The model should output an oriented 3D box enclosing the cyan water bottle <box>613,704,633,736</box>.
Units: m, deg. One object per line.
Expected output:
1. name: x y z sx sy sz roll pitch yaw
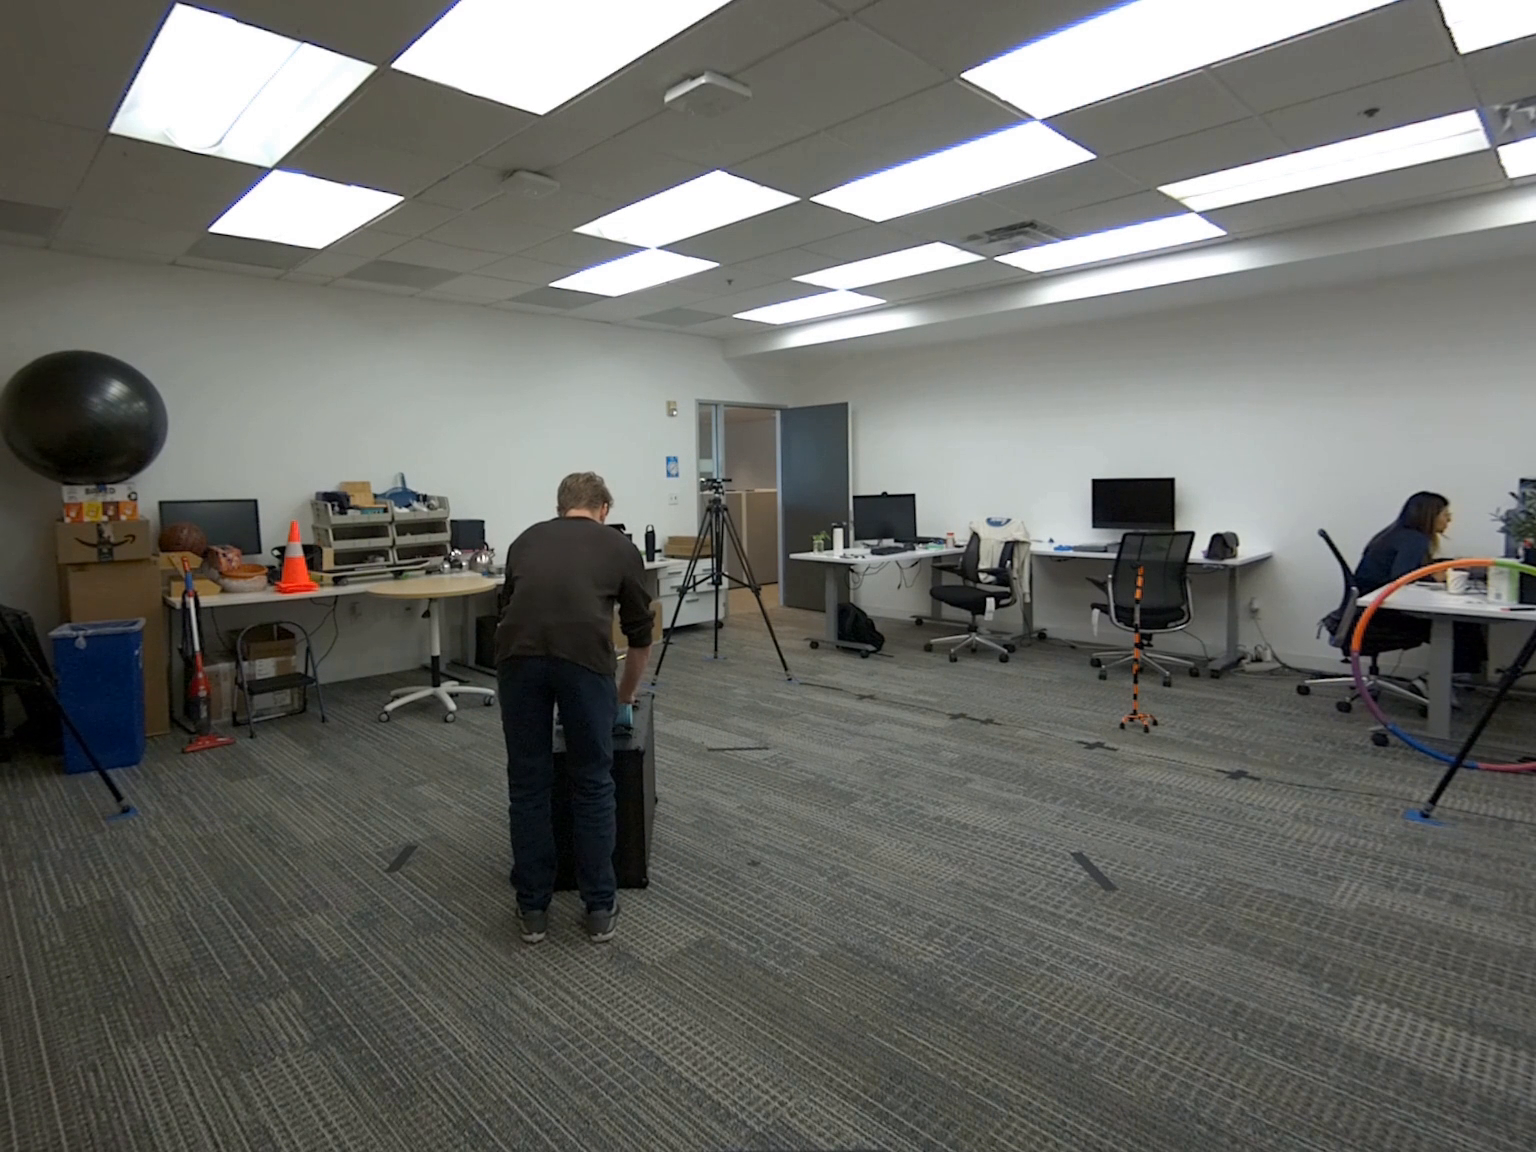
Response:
1. cyan water bottle: -0.649 0.521 3.194 0.283 0.092 0.093 -1 5 0
